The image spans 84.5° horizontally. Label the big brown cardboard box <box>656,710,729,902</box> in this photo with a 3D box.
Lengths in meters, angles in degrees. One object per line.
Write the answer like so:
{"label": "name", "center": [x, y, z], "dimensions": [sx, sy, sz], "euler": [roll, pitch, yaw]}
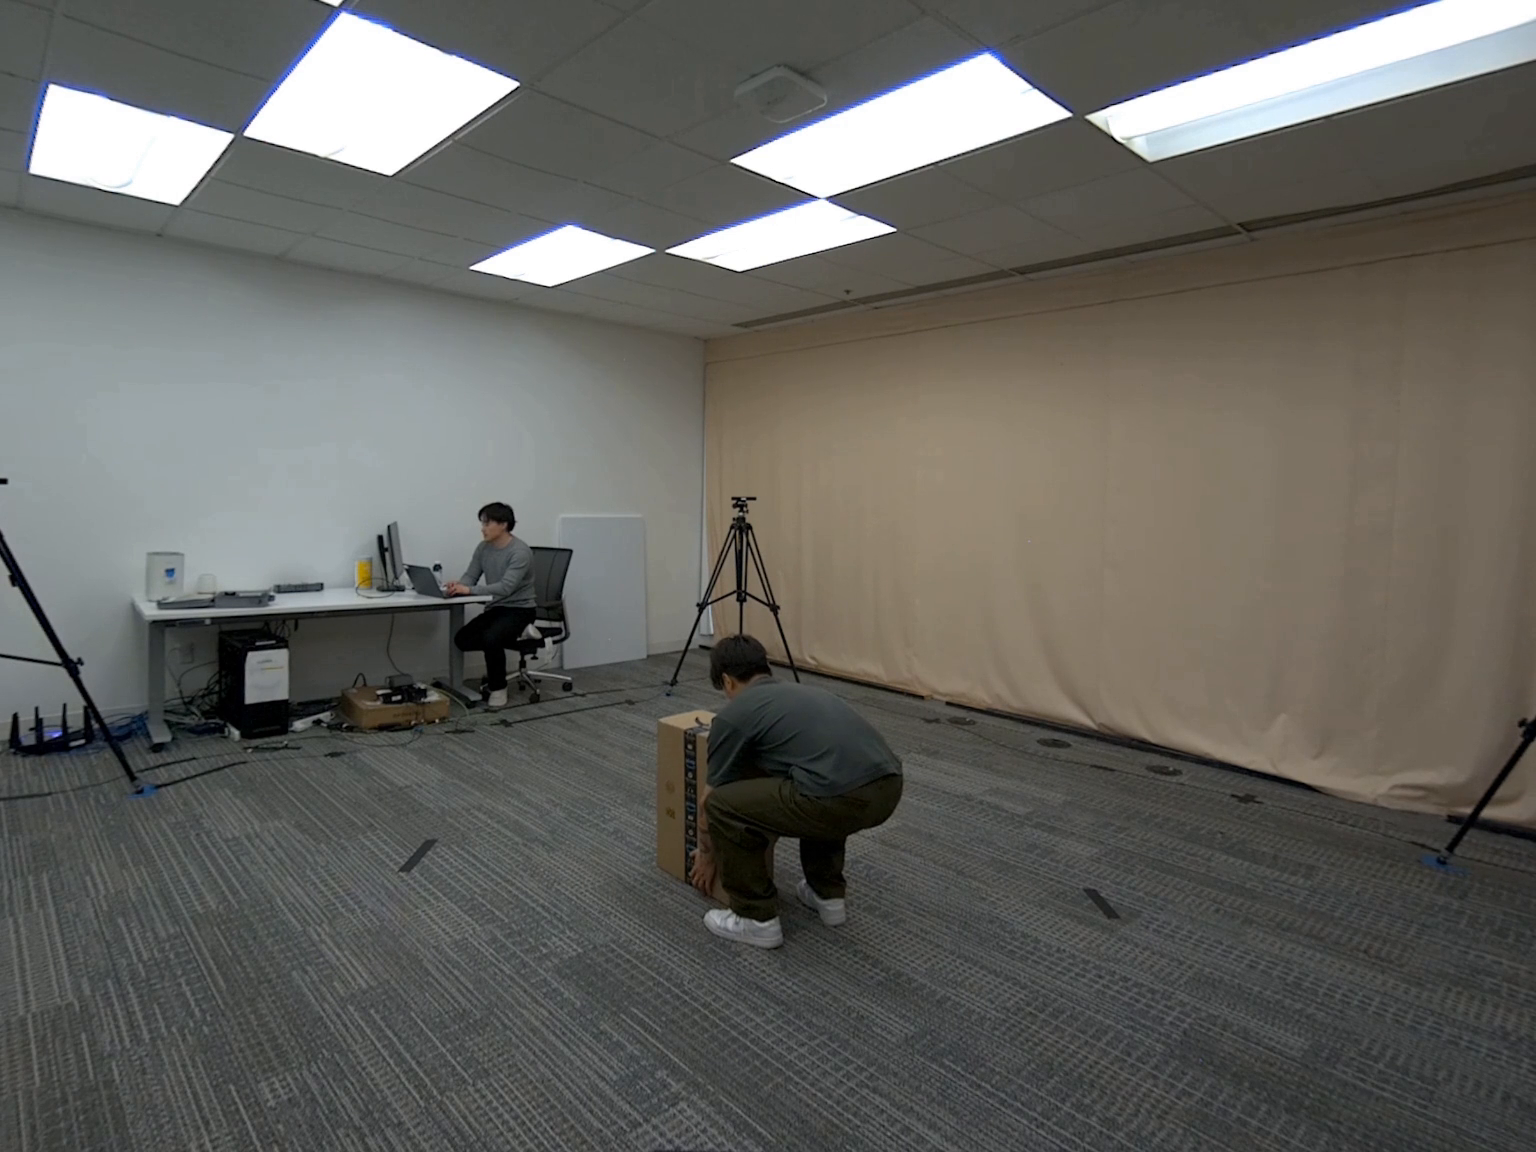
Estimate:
{"label": "big brown cardboard box", "center": [-0.203, 0.820, 3.063], "dimensions": [0.228, 0.587, 0.428], "euler": [-2, 6, -42]}
